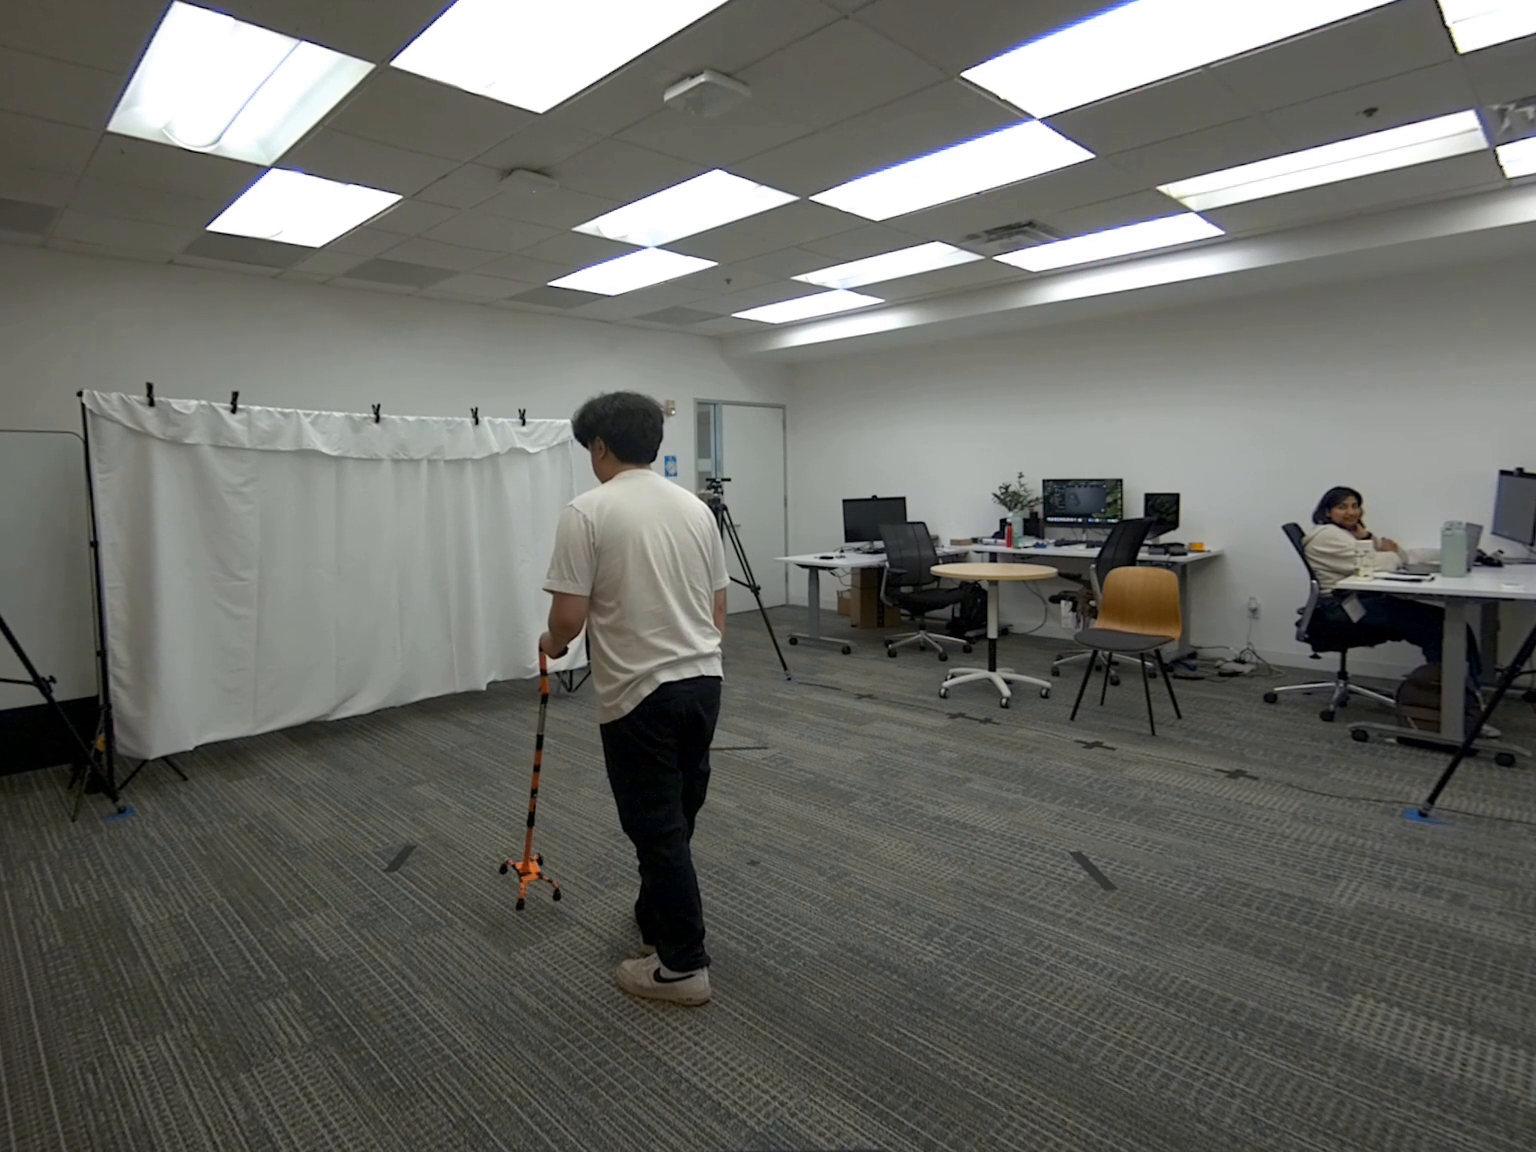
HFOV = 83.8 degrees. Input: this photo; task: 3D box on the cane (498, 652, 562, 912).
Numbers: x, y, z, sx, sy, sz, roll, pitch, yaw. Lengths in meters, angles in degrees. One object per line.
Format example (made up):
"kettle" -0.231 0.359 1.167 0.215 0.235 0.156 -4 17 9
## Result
"cane" -0.699 0.601 2.658 0.148 0.897 0.214 -1 18 -29
